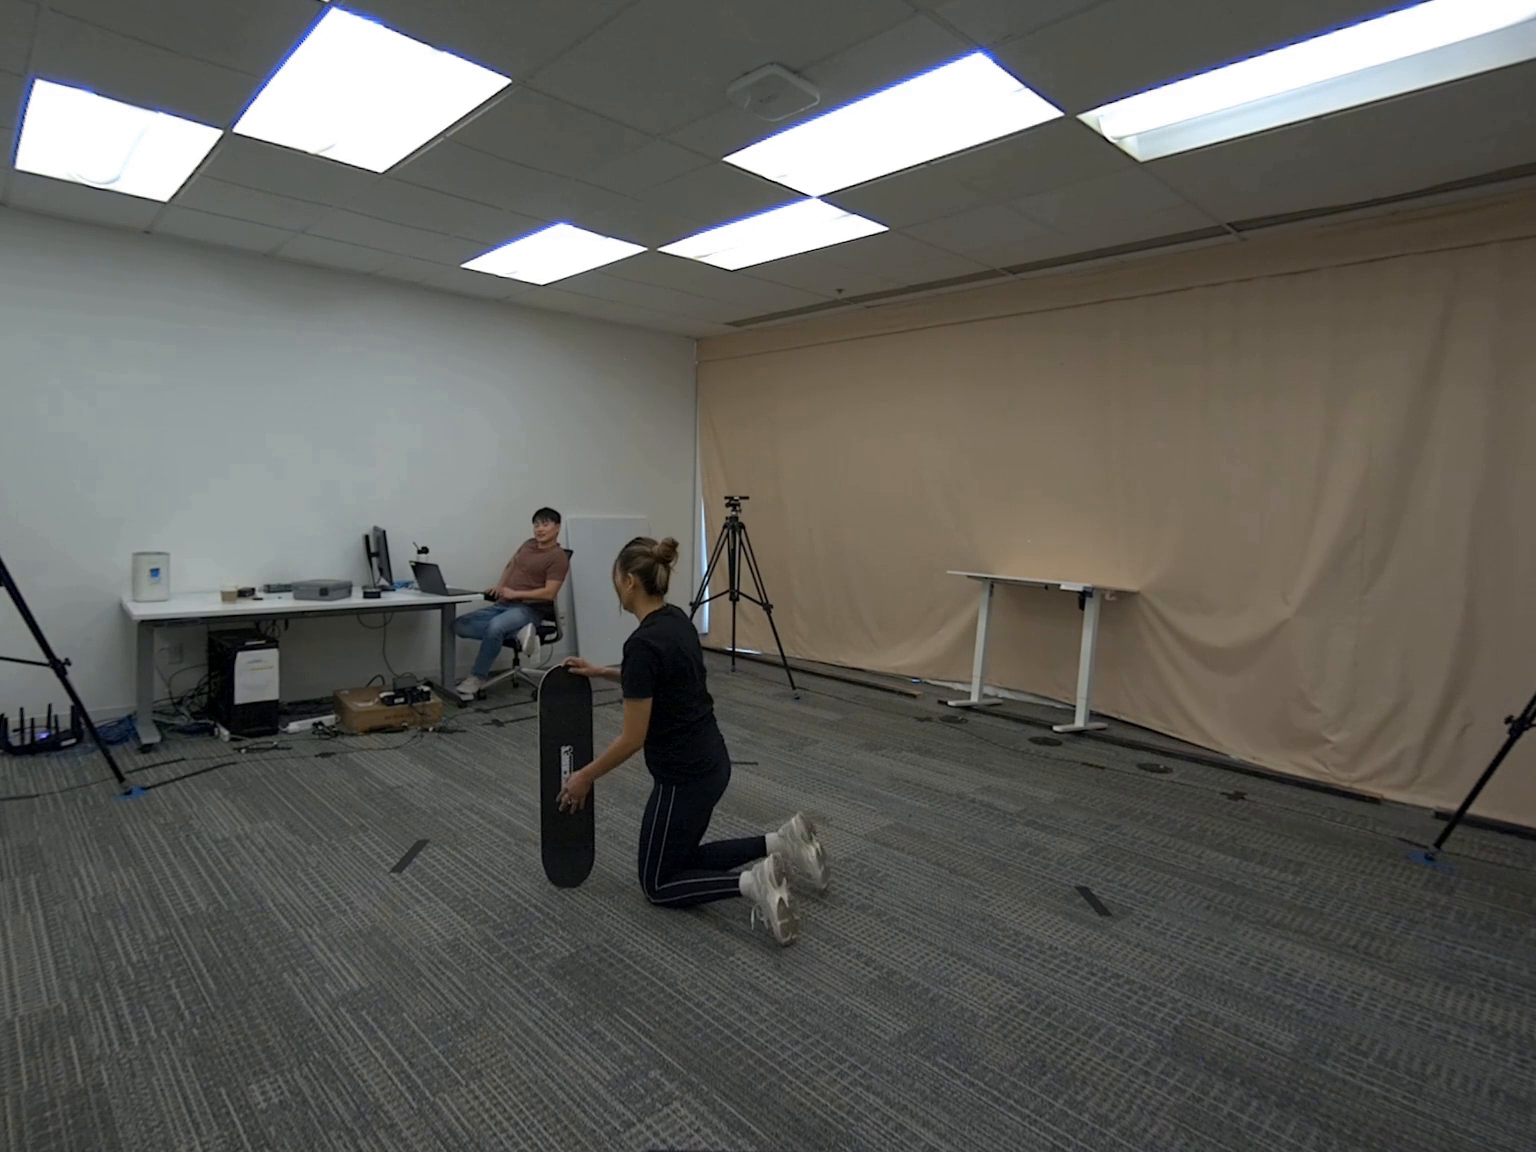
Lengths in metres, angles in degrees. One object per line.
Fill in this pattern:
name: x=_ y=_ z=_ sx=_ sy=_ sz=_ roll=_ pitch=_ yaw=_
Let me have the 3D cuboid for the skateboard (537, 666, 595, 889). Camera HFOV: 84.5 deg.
skateboard: x=-0.728 y=0.708 z=3.034 sx=0.191 sy=0.787 sz=0.111 roll=0 pitch=-2 yaw=-17
